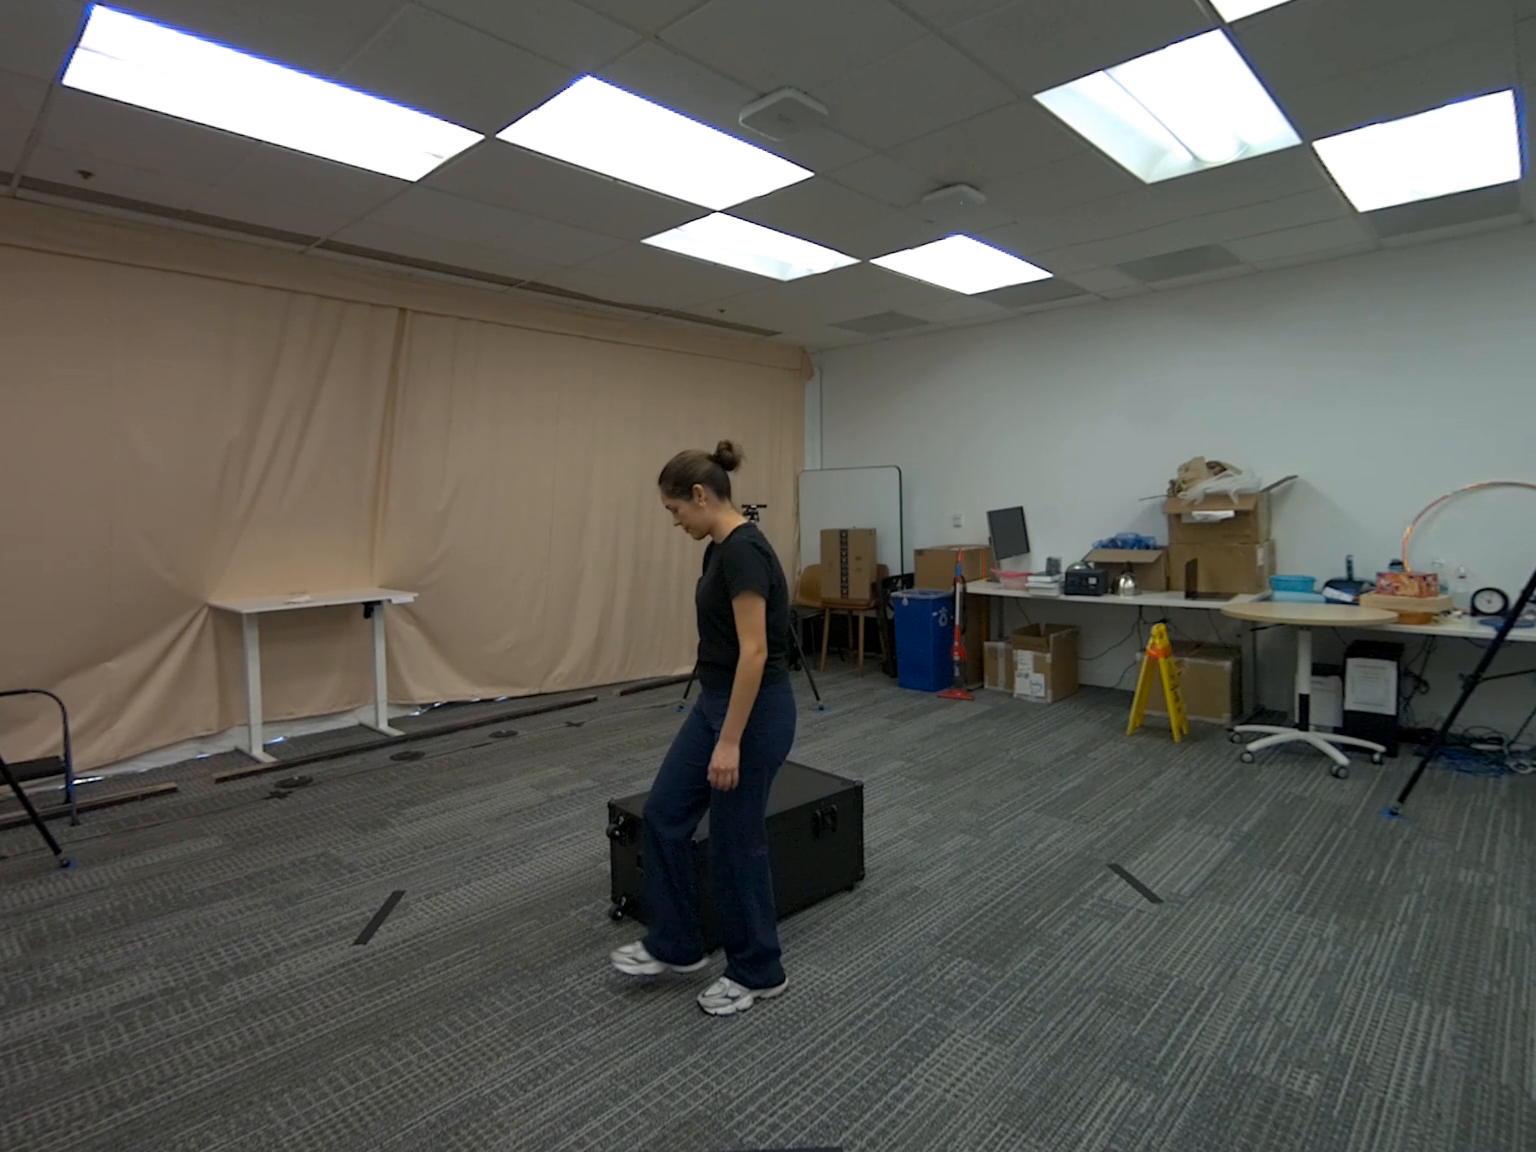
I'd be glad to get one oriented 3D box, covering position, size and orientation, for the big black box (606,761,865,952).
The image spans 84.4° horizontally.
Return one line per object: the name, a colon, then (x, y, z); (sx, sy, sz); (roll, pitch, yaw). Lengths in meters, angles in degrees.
big black box: (-0.064, 0.949, 3.001); (0.836, 0.395, 0.538); (-6, 7, -41)
